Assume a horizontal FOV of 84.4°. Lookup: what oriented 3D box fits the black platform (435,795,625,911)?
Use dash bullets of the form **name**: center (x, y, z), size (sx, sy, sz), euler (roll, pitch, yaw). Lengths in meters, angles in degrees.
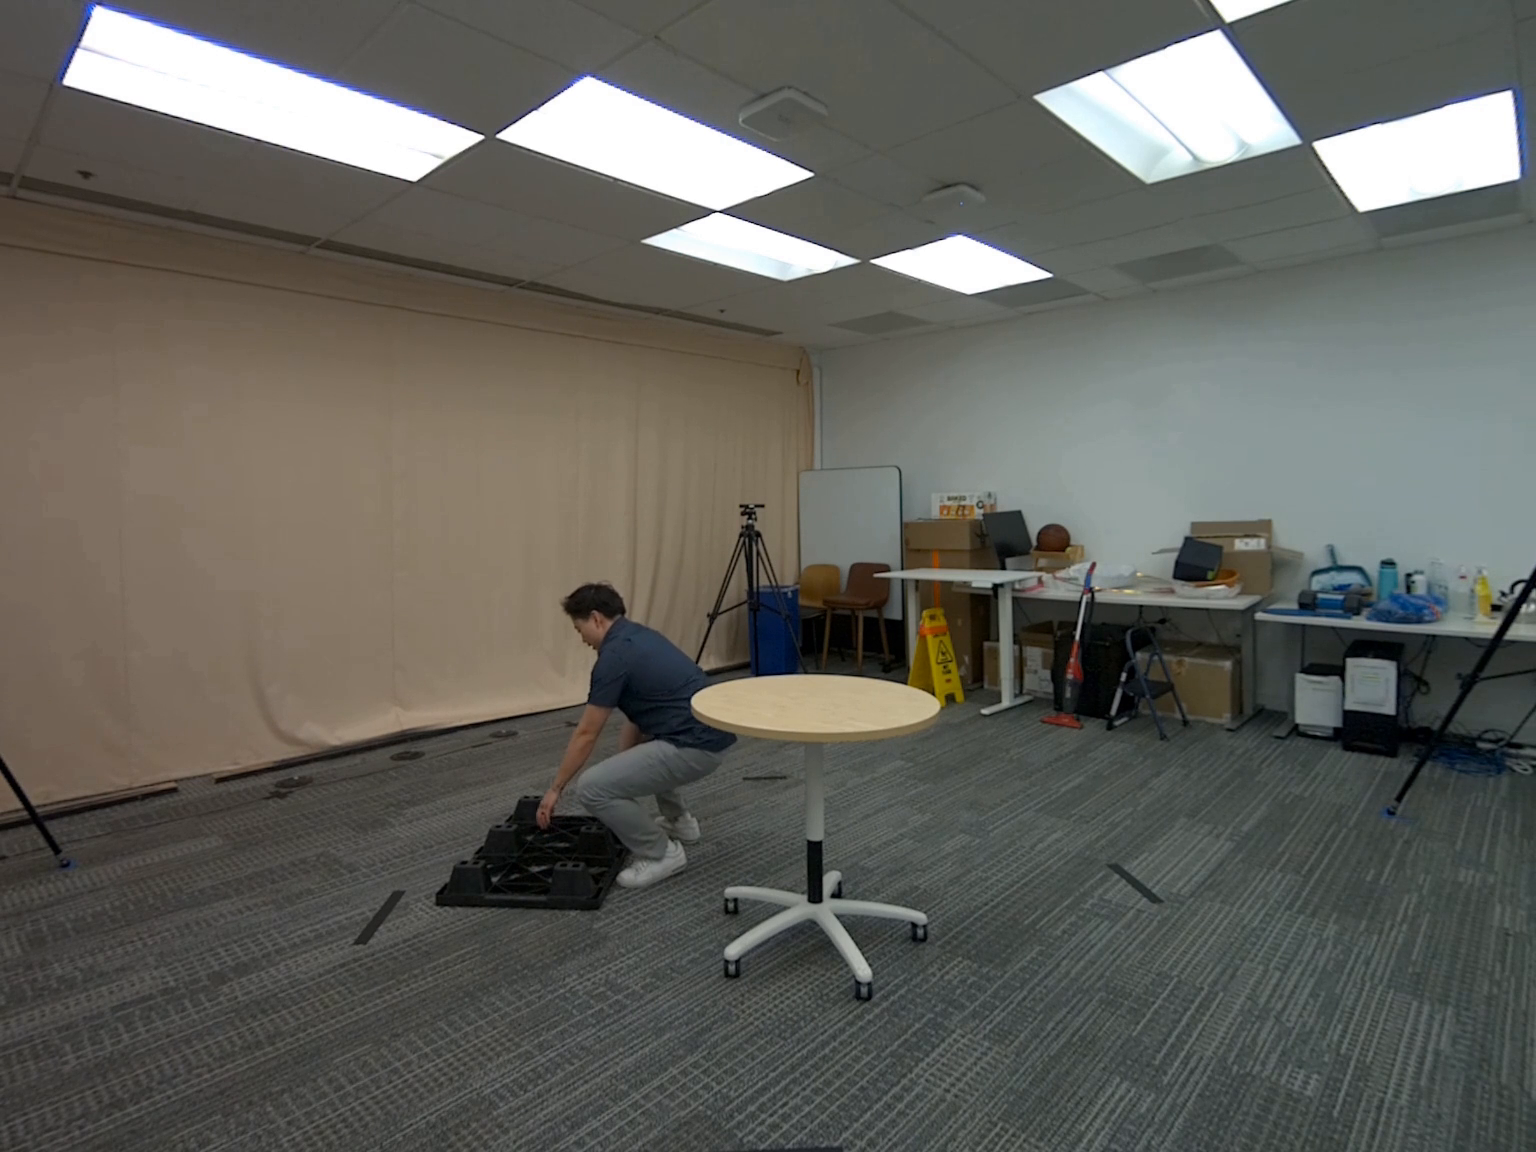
- **black platform**: center (-0.873, 1.063, 3.333), size (0.609, 0.143, 0.803), euler (0, 4, 4)
